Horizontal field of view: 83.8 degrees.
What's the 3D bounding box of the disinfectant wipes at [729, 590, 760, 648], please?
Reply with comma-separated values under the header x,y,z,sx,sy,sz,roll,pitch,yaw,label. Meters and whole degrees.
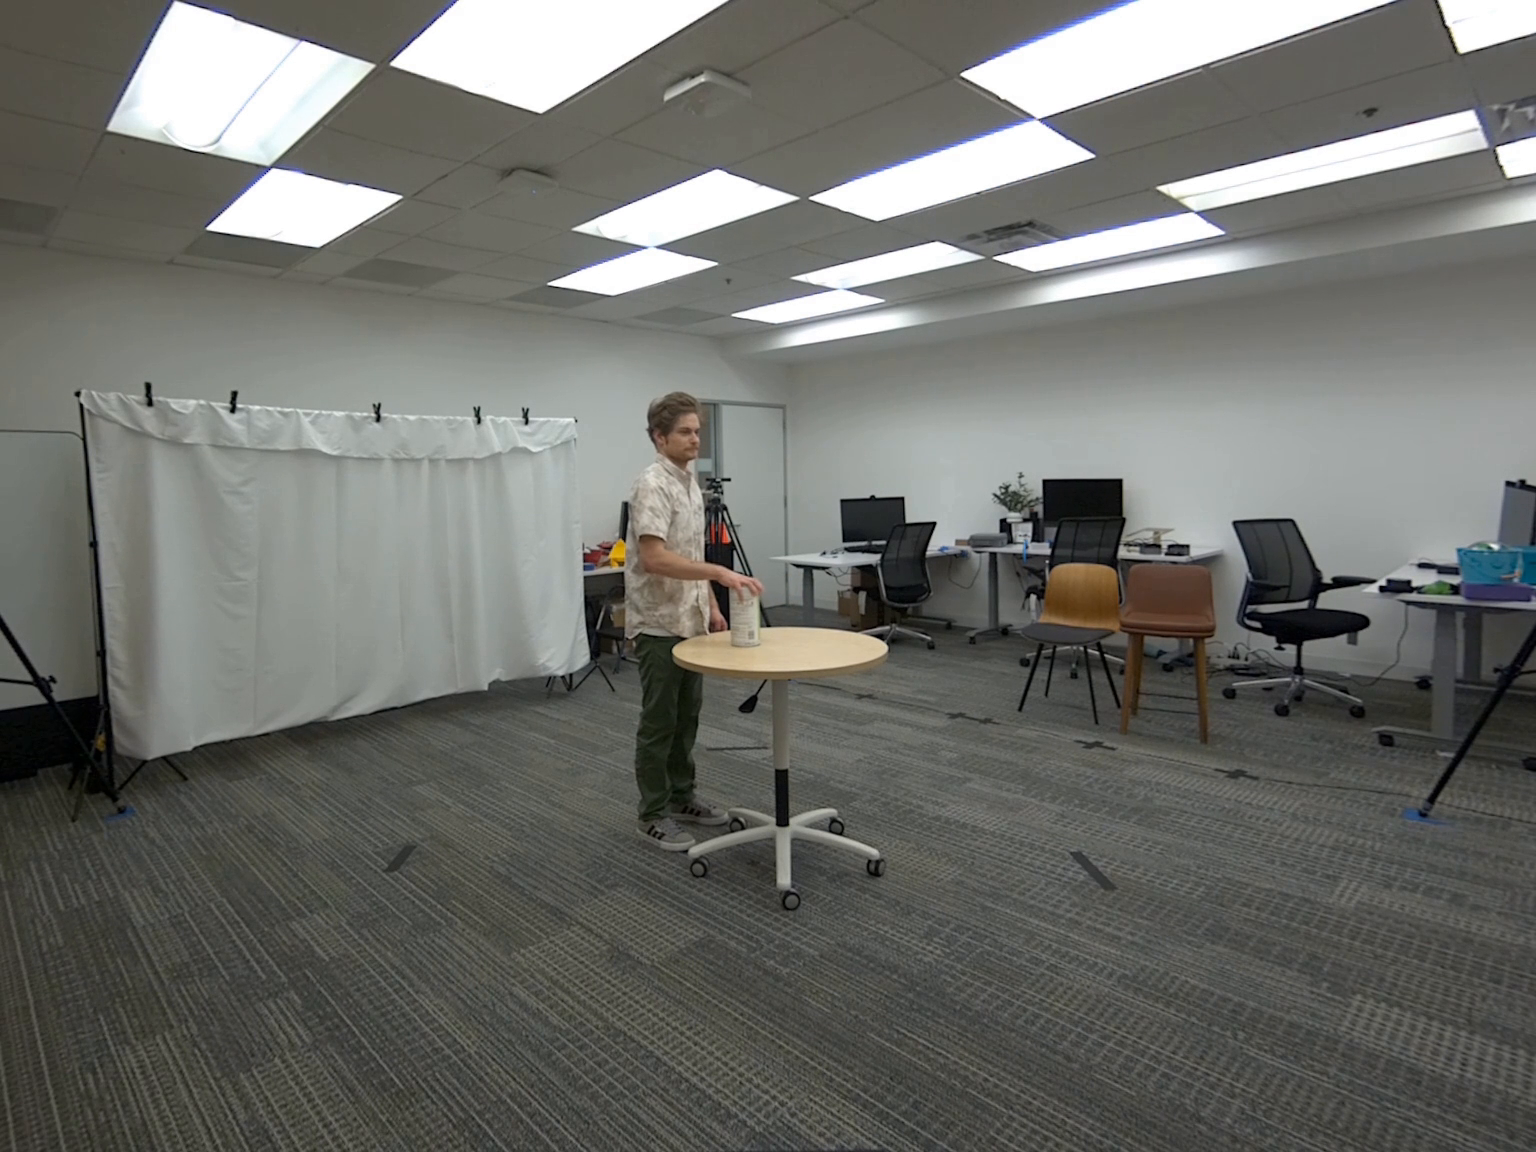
x,y,z,sx,sy,sz,roll,pitch,yaw,label
-0.081,0.145,3.106,0.118,0.217,0.118,-1,2,-2,disinfectant wipes
